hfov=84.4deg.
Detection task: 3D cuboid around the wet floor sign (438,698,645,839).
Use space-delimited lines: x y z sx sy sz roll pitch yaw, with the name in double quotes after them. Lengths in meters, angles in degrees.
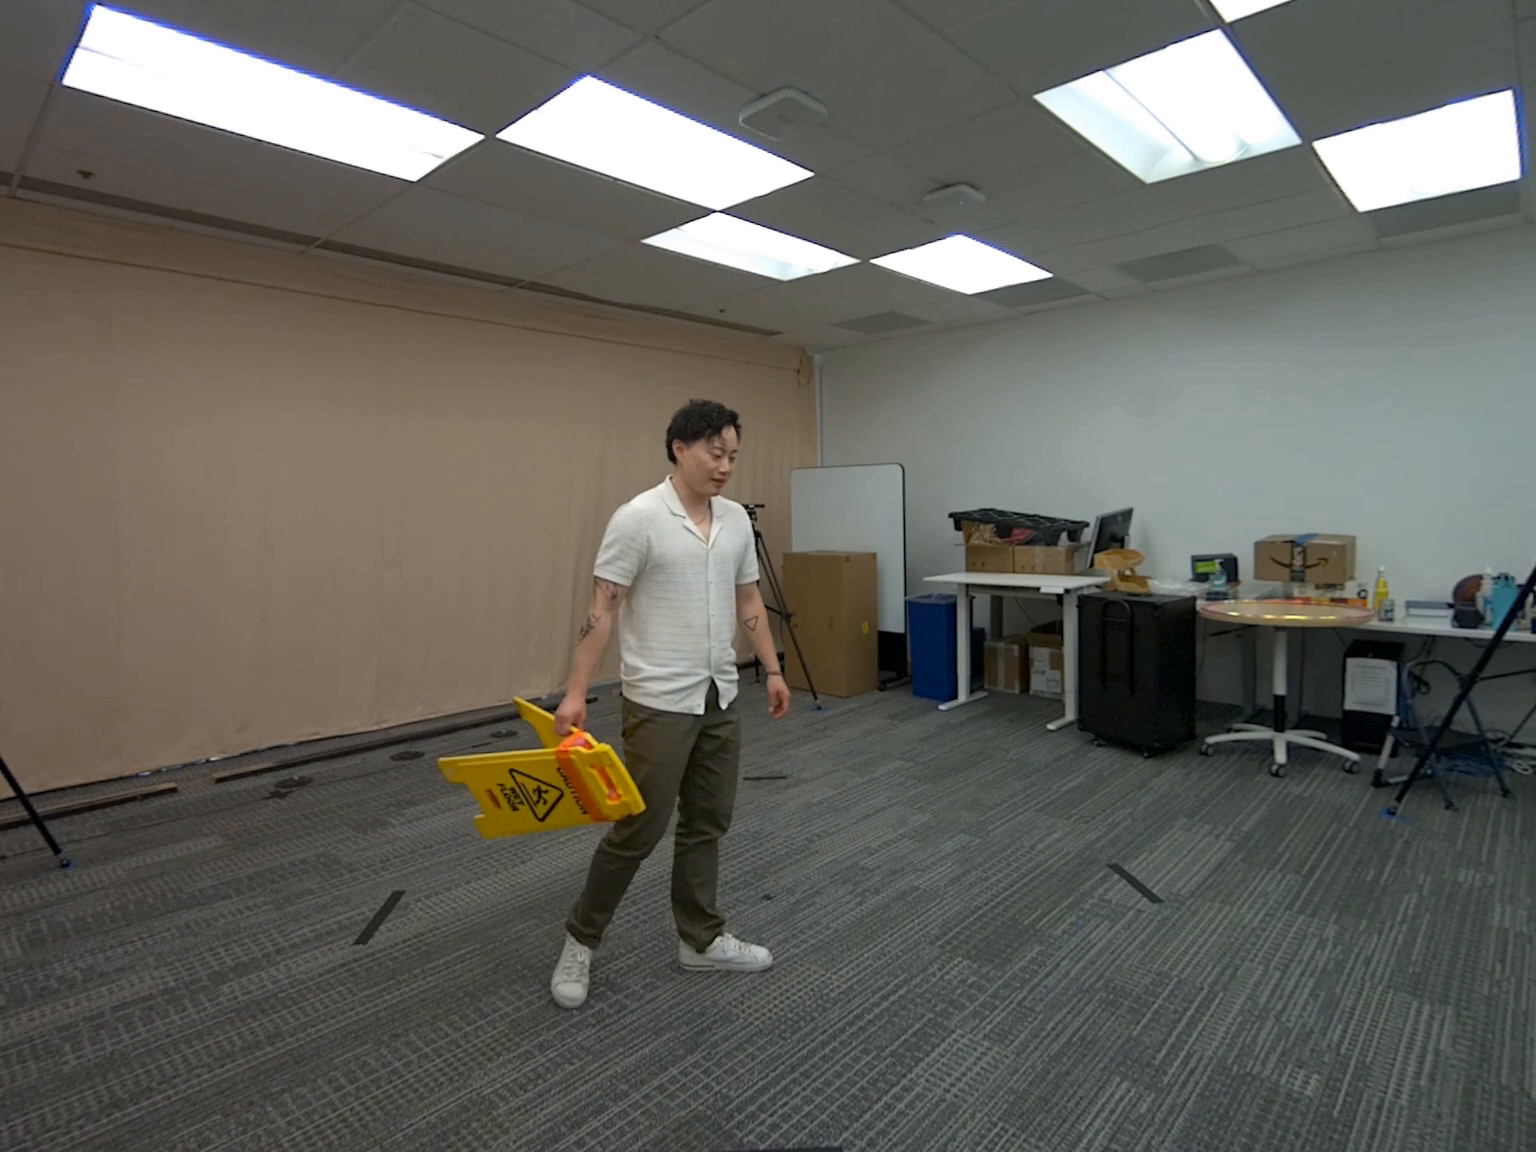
-0.566 0.539 2.287 0.664 0.278 0.286 -10 23 46 "wet floor sign"
